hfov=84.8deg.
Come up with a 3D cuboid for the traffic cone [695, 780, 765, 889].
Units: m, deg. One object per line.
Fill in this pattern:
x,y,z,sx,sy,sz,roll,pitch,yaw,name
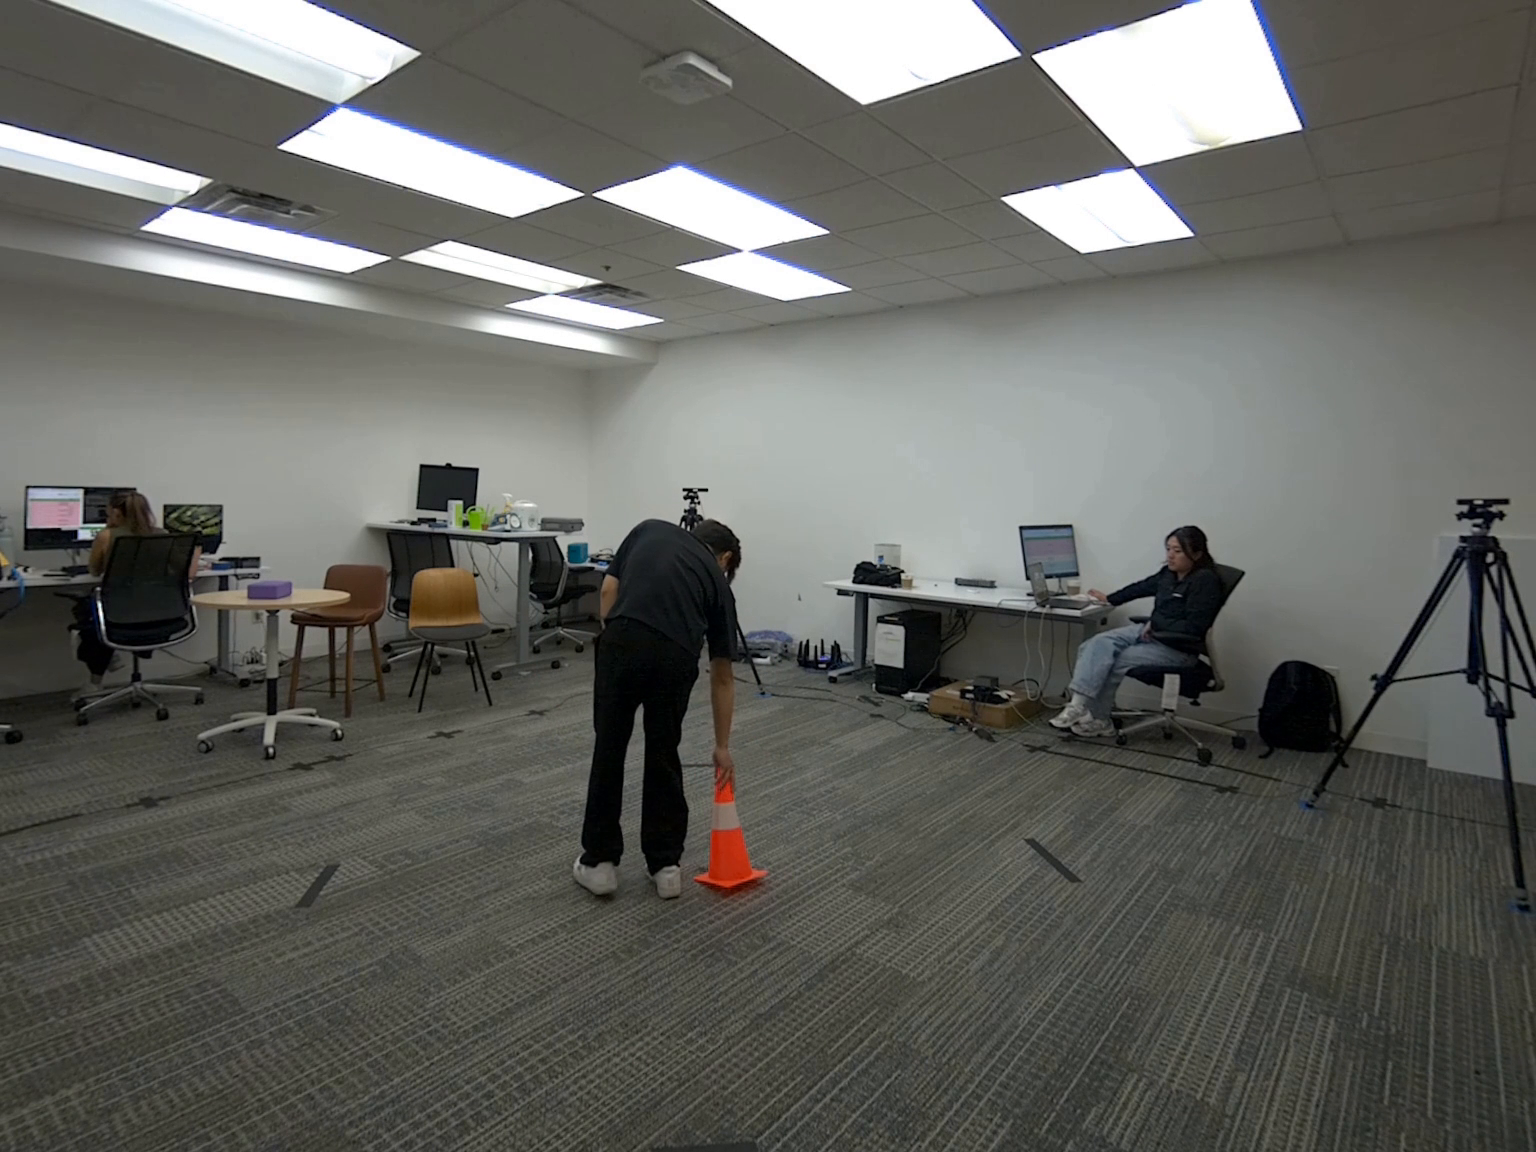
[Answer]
-0.166,0.882,3.039,0.198,0.385,0.209,-1,-5,-30,traffic cone
